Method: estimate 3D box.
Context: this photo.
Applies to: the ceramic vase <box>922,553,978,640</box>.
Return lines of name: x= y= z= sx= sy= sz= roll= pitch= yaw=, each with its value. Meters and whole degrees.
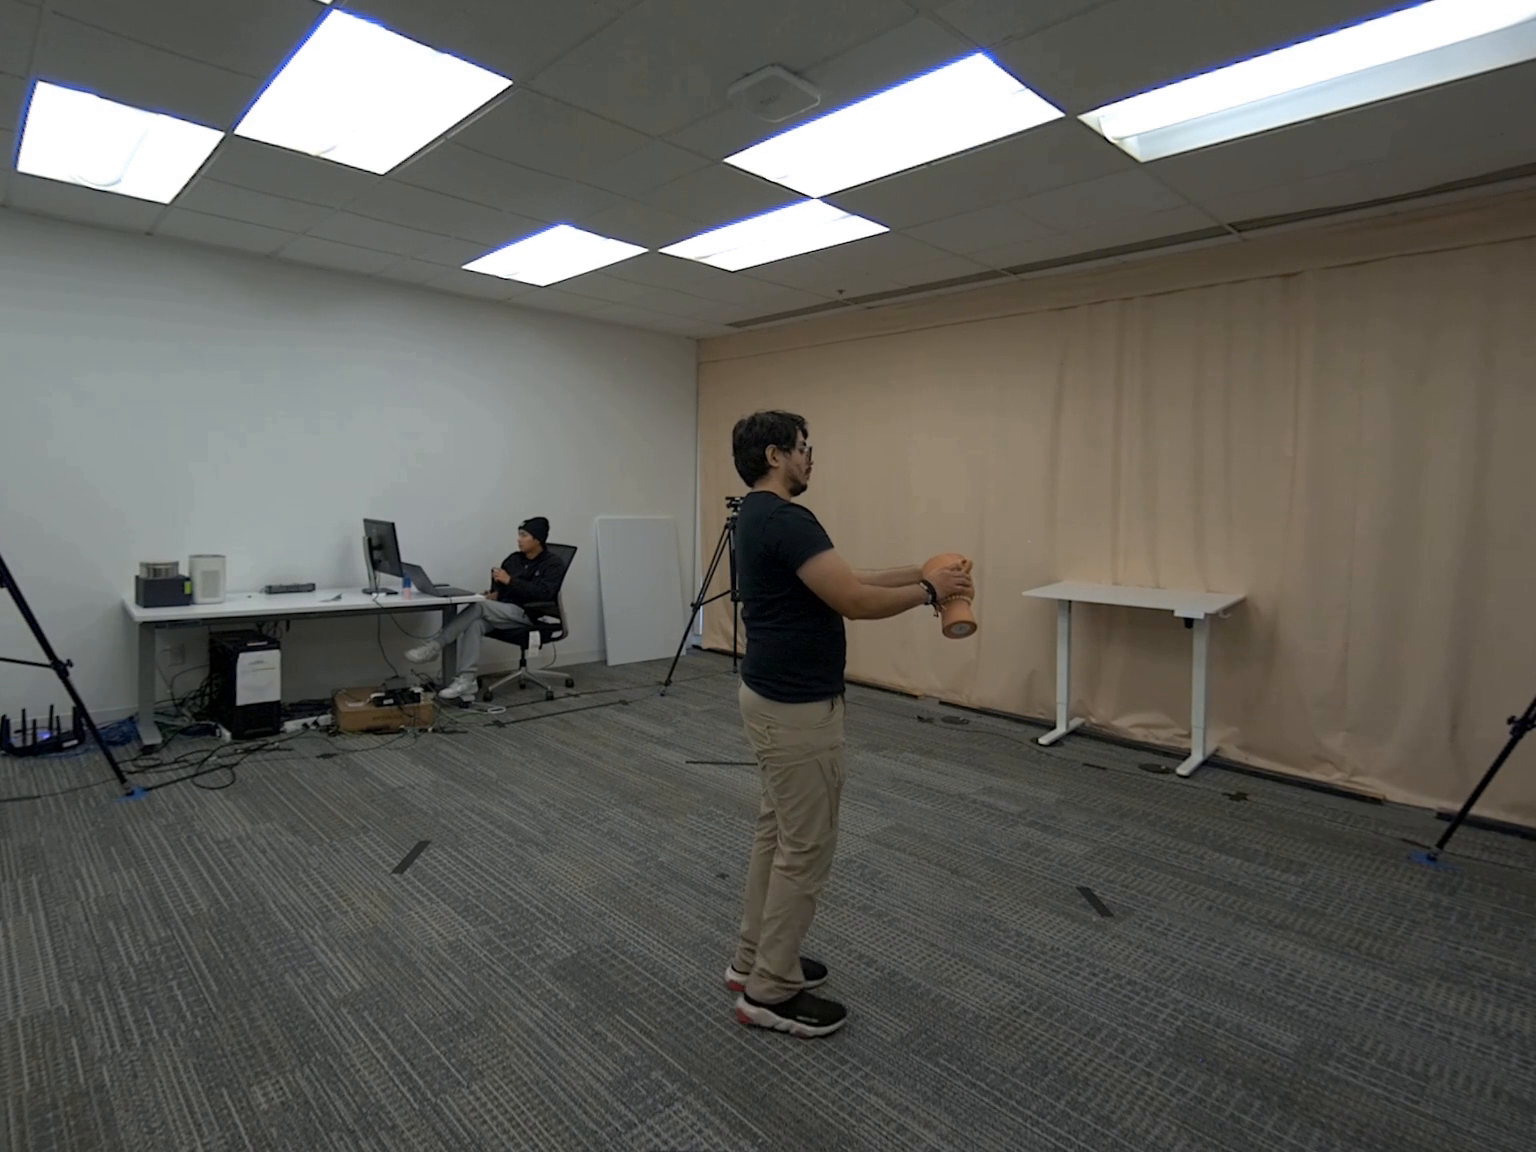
ceramic vase: x=0.509 y=0.061 z=2.383 sx=0.135 sy=0.225 sz=0.155 roll=-7 pitch=-38 yaw=4
